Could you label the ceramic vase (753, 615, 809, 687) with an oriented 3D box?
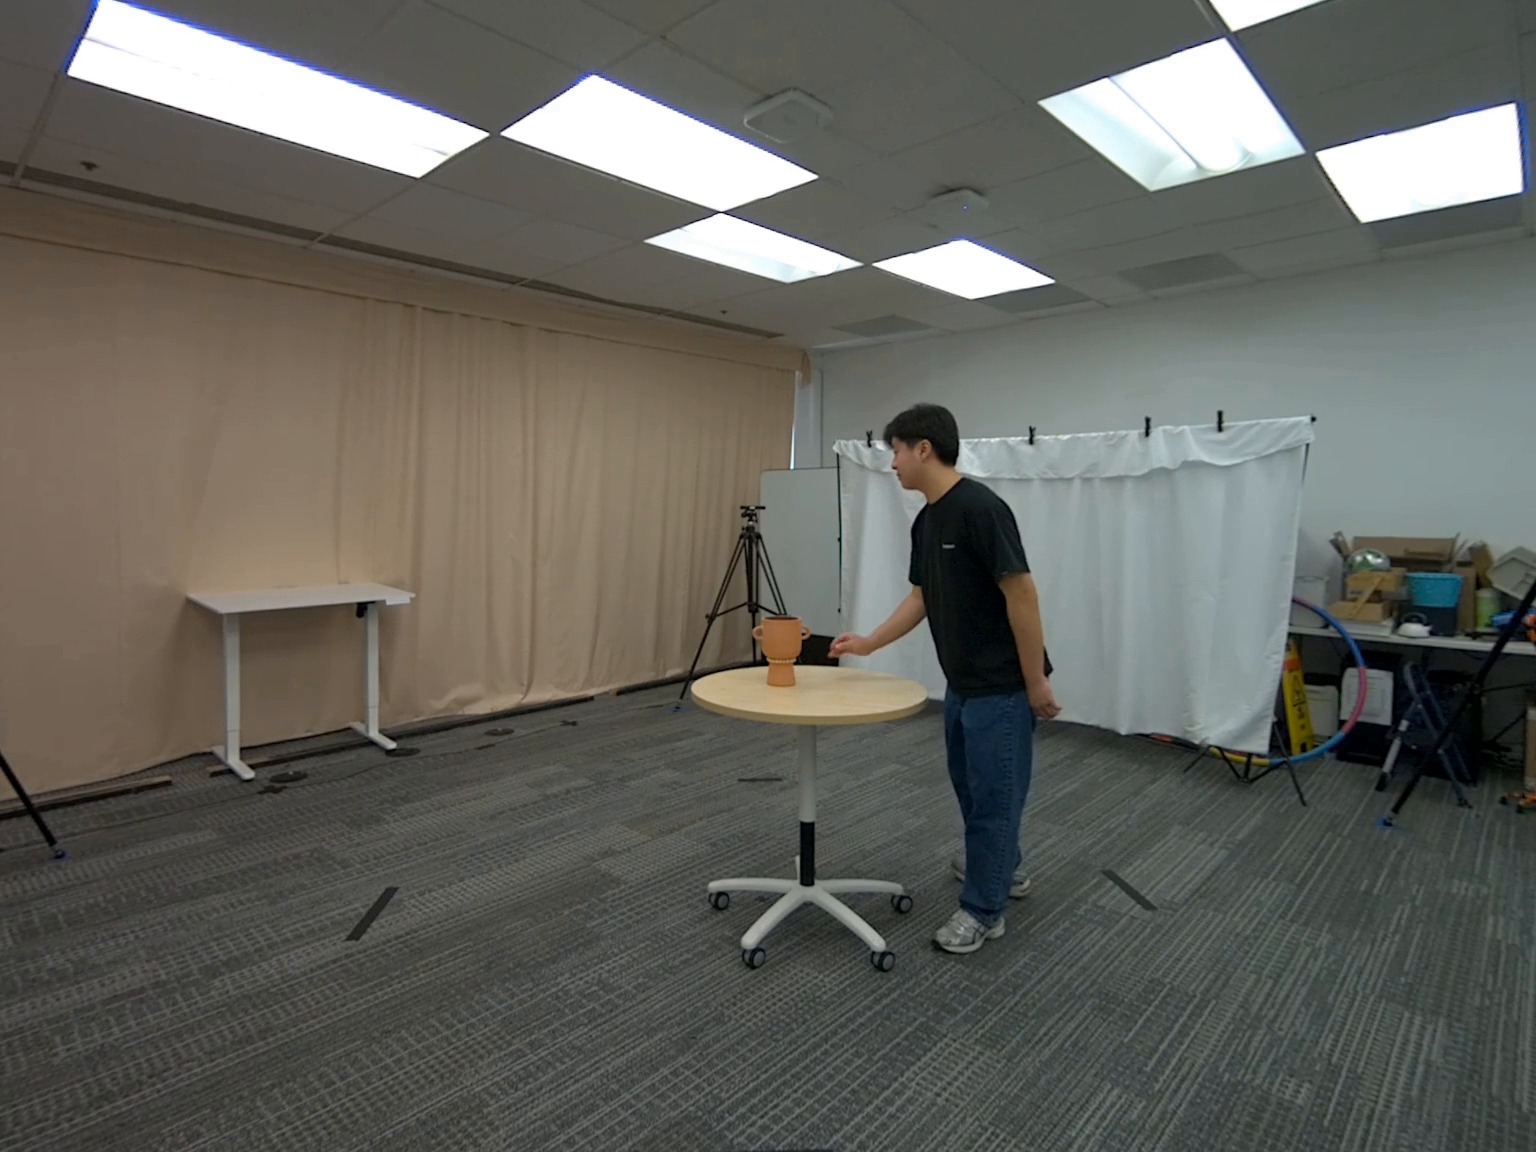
[{"bbox_3d":[0.052,0.253,2.815,0.163,0.219,0.131,2,2,27],"label":"ceramic vase"}]
